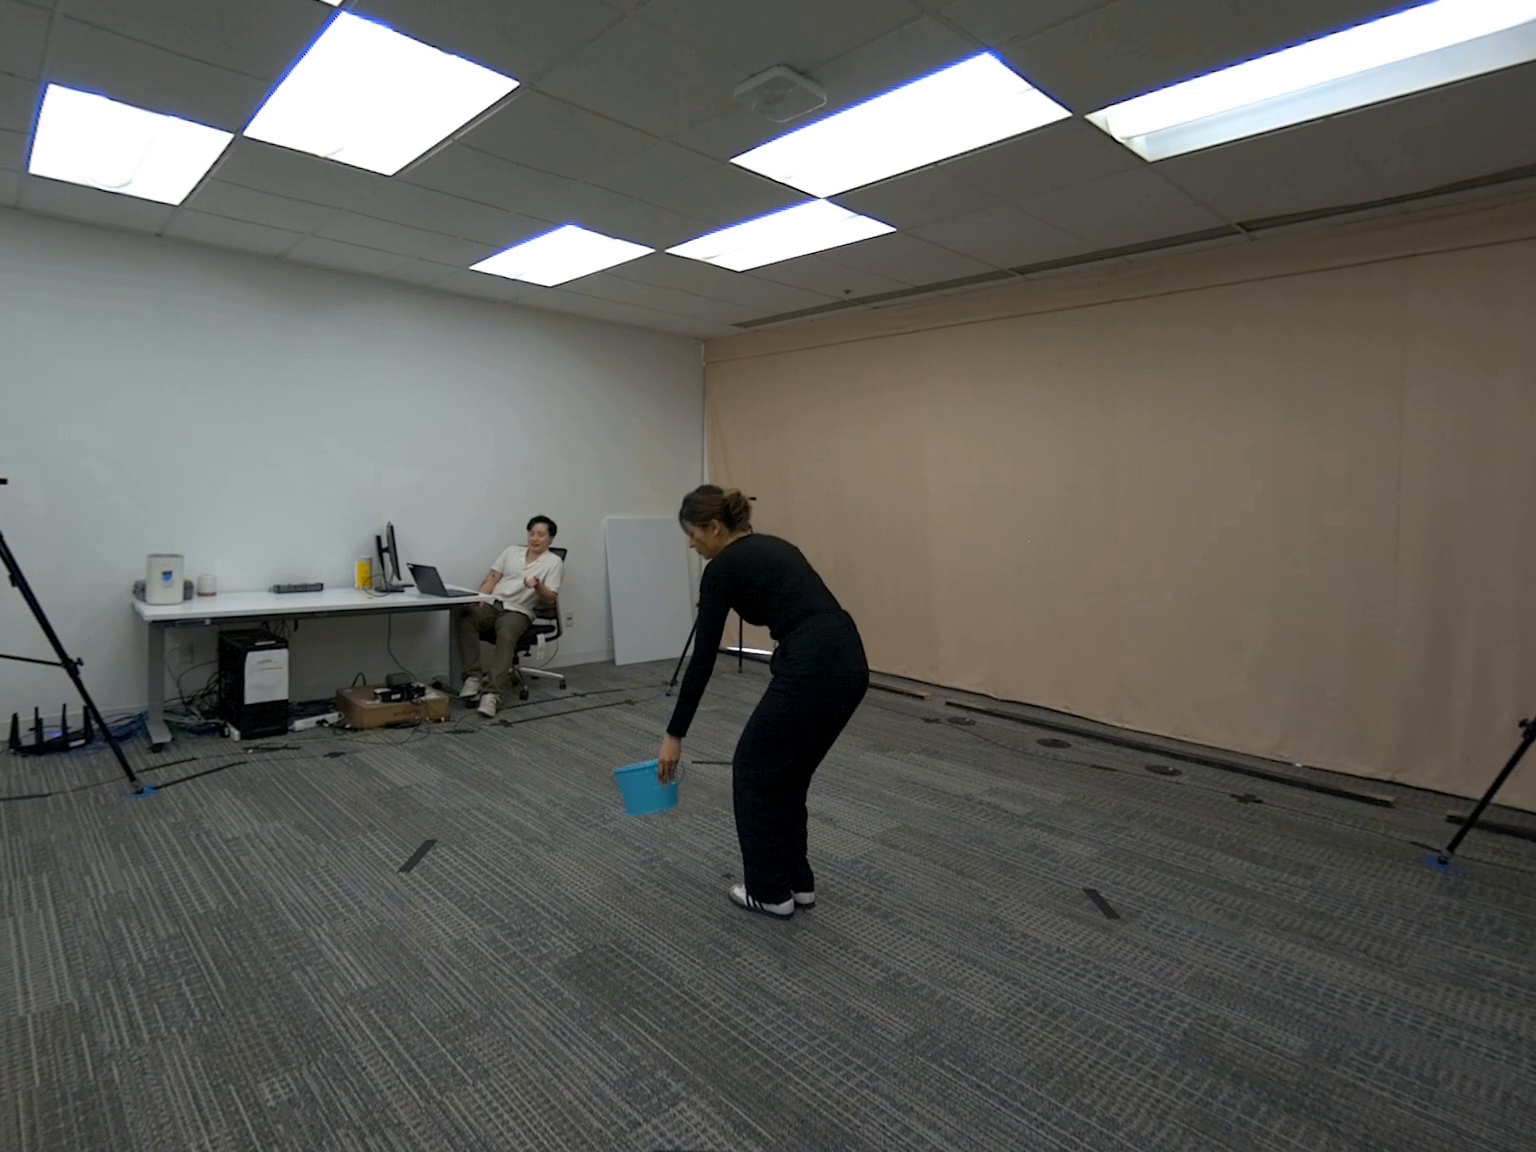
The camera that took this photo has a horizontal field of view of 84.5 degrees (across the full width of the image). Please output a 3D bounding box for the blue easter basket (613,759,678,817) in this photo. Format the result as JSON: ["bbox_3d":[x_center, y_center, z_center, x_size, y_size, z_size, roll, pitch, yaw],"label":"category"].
[{"bbox_3d":[-0.398,0.710,2.870,0.243,0.157,0.242,-10,-6,-3],"label":"blue easter basket"}]
